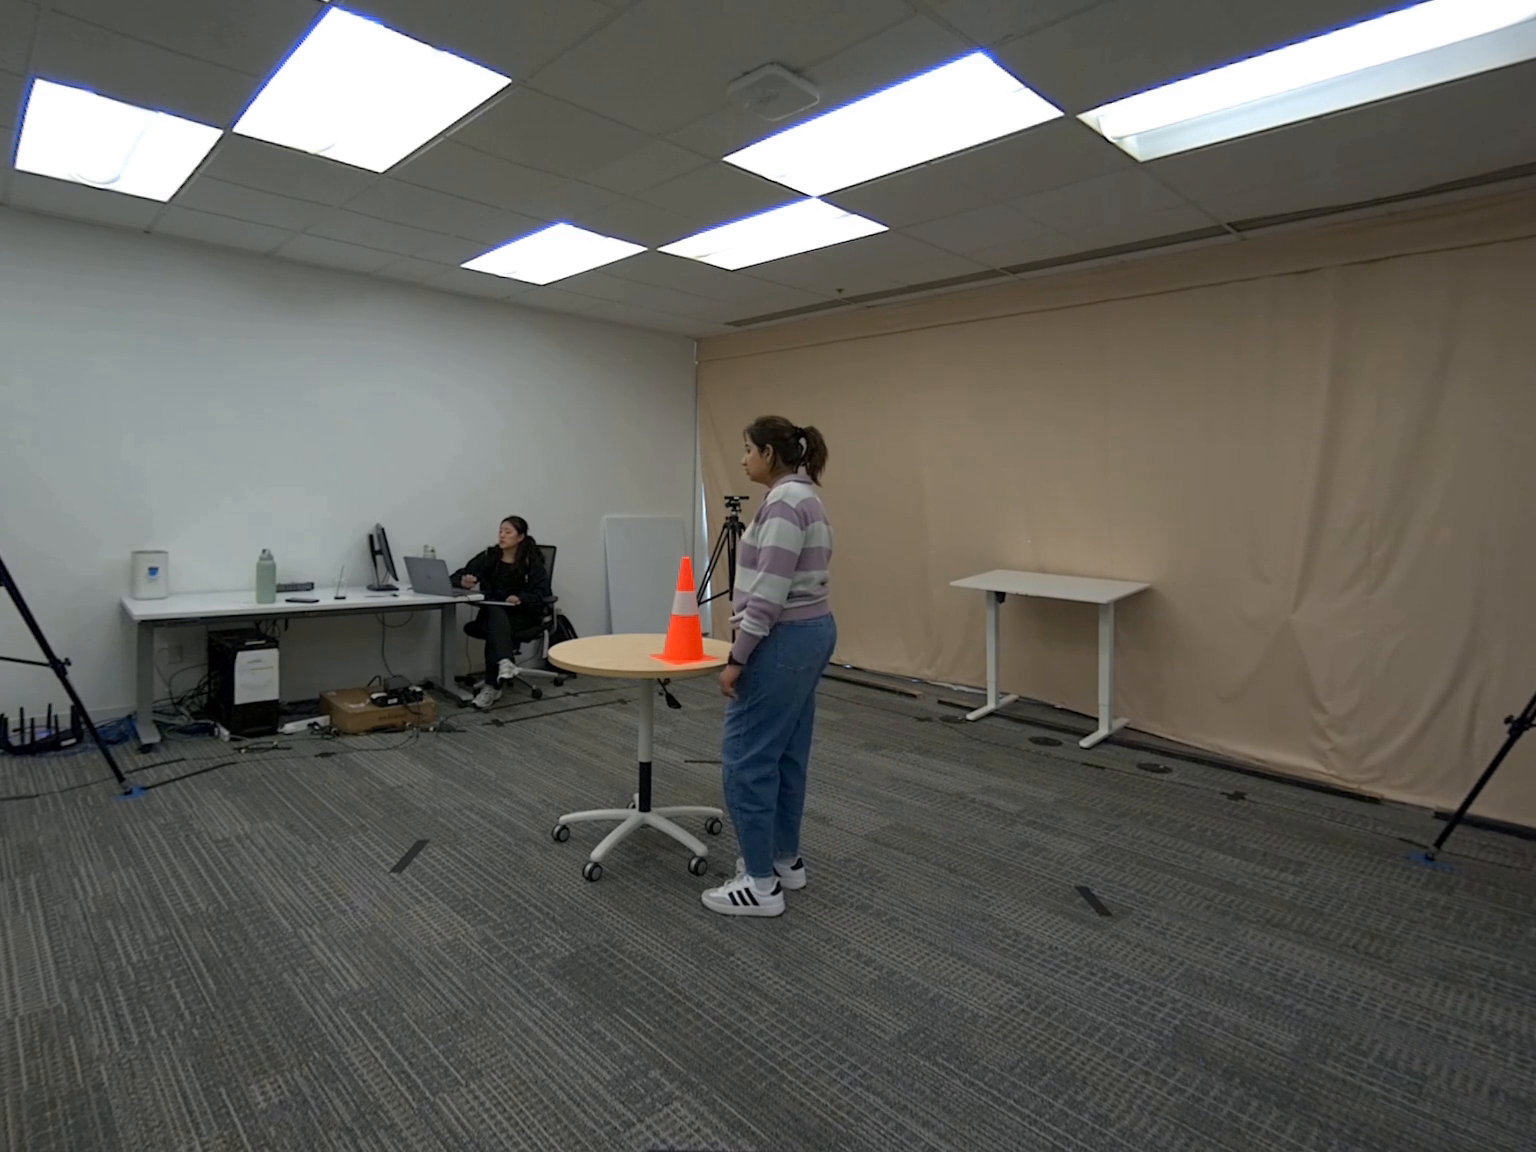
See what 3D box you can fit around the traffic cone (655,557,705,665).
[{"bbox_3d":[-0.312,0.121,3.173,0.210,0.382,0.199,6,7,43],"label":"traffic cone"}]
